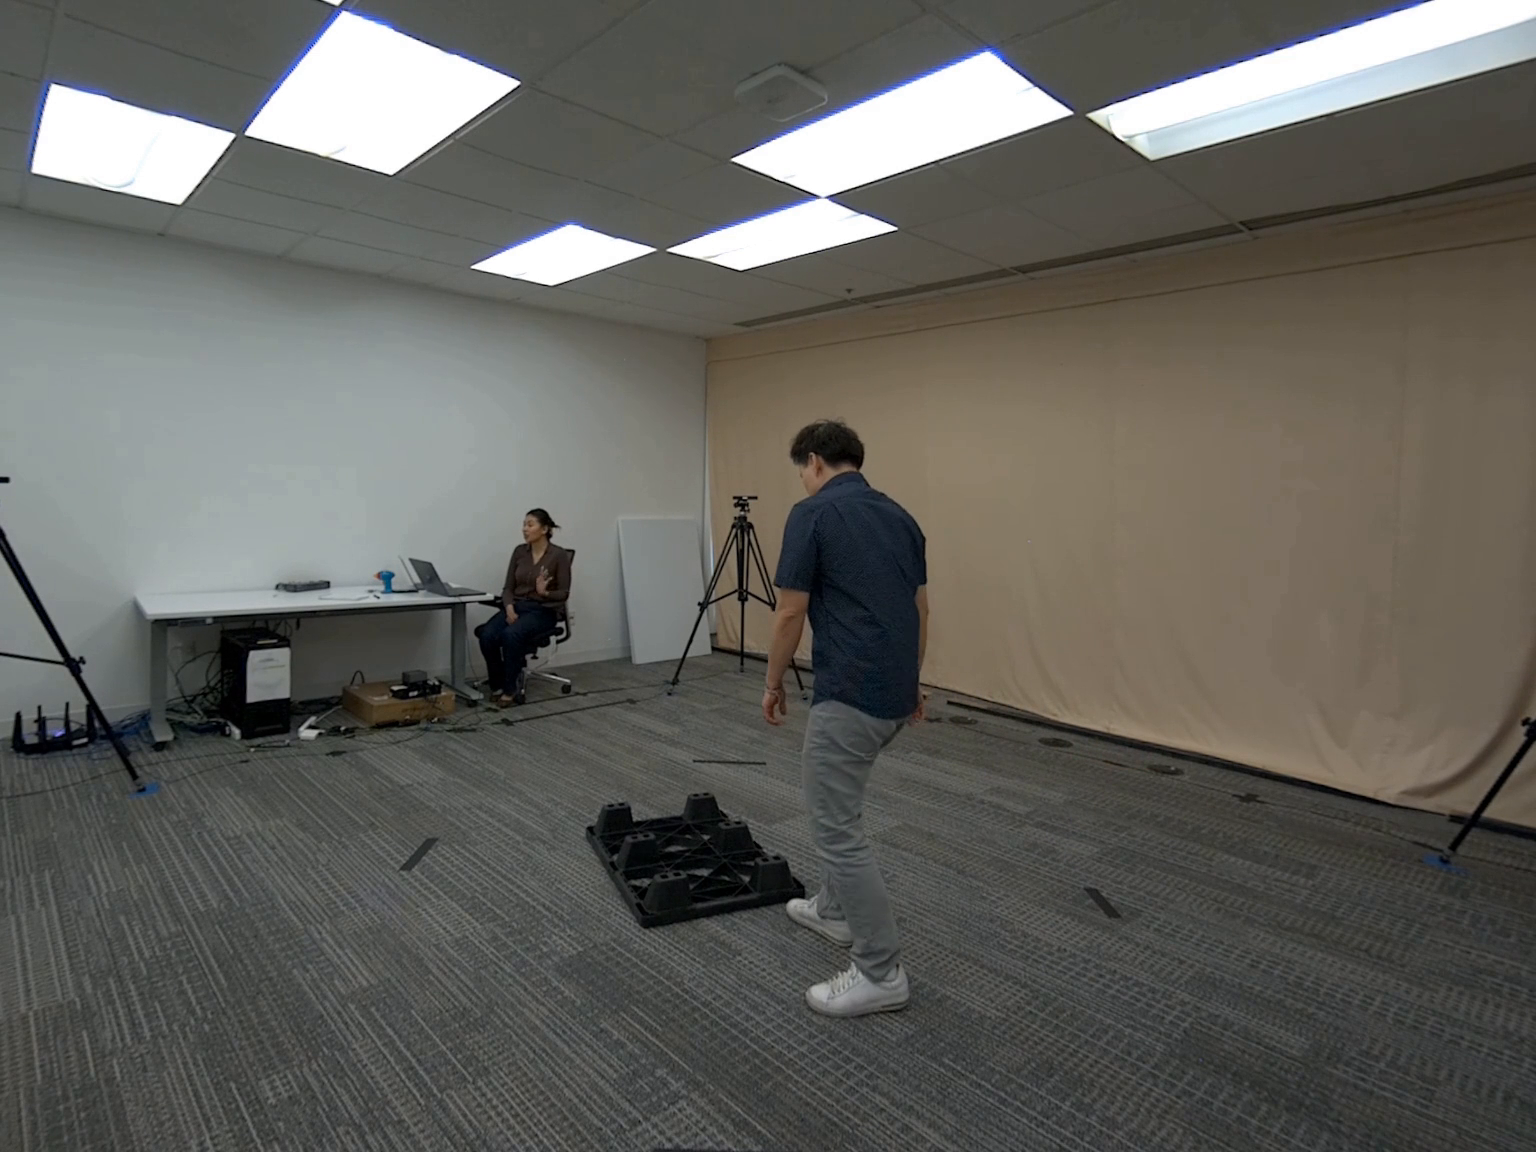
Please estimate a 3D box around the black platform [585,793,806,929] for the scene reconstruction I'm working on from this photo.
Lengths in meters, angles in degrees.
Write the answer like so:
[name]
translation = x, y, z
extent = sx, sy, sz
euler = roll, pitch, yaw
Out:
[black platform]
translation = -0.303, 1.026, 3.171
extent = 0.594, 0.143, 0.822
euler = -1, 6, -25
